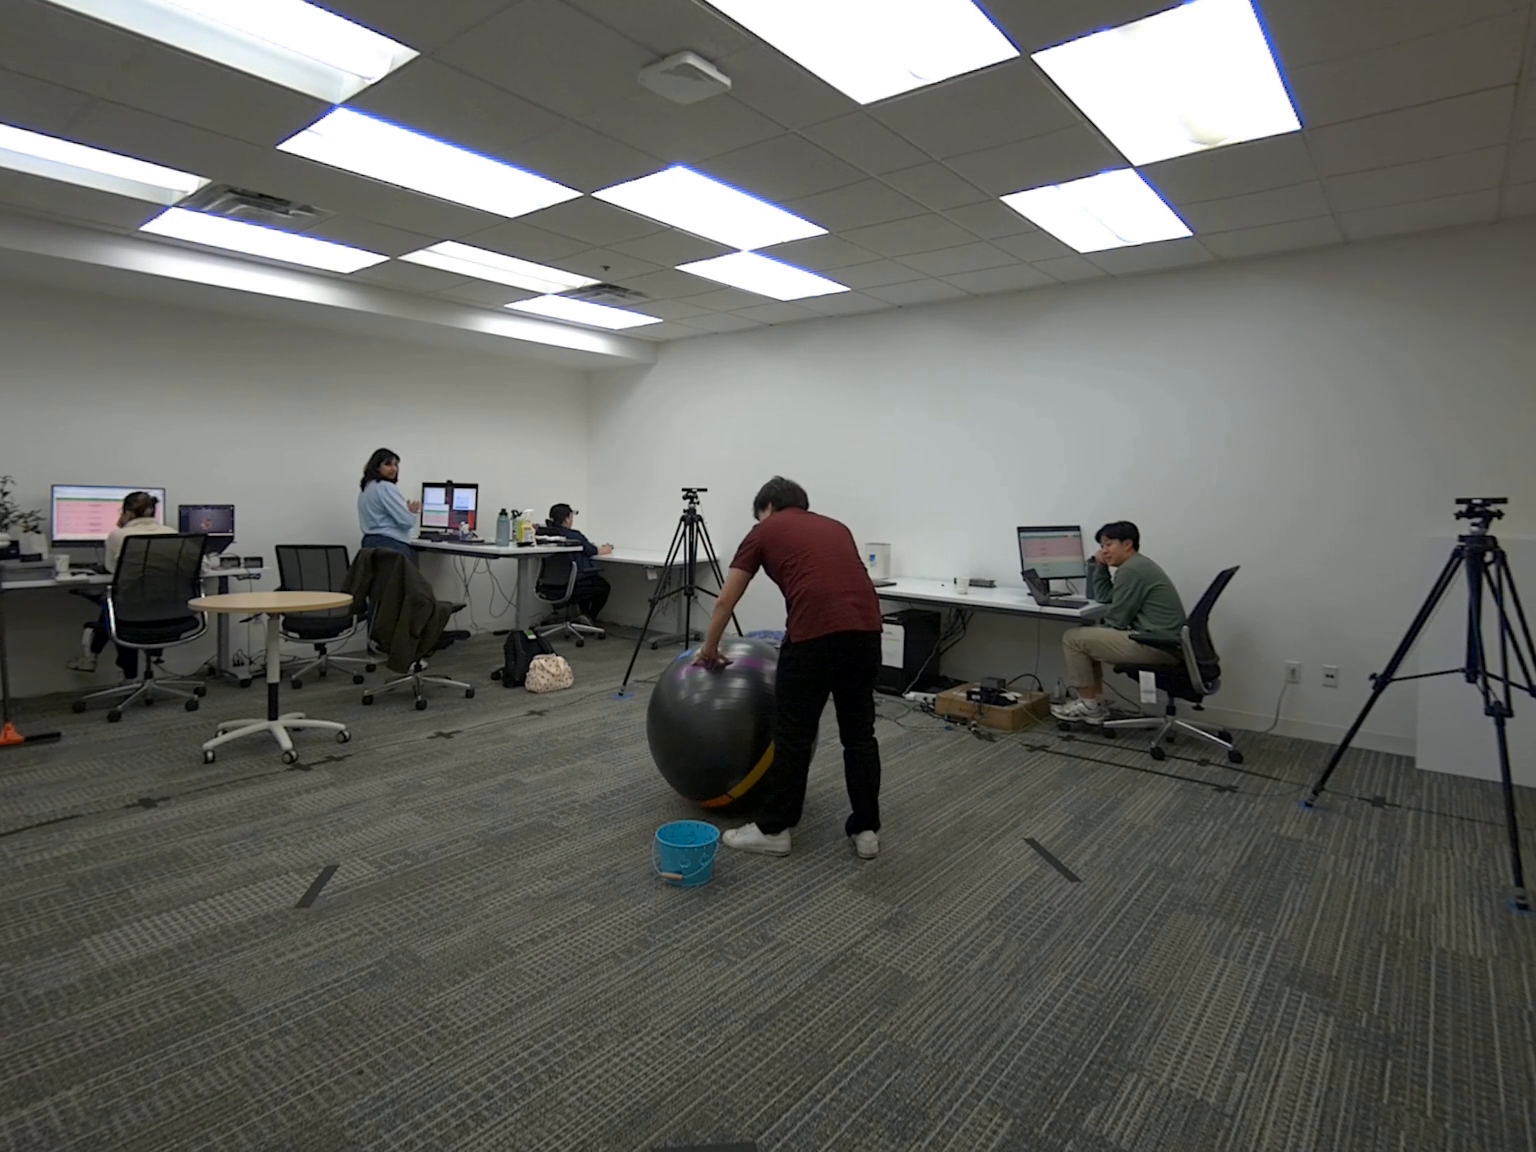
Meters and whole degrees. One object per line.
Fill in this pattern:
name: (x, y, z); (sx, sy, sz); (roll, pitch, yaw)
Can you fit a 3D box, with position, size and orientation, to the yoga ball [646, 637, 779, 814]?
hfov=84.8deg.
yoga ball: (-0.176, 0.649, 3.769); (0.757, 0.755, 0.762); (1, 4, -2)
